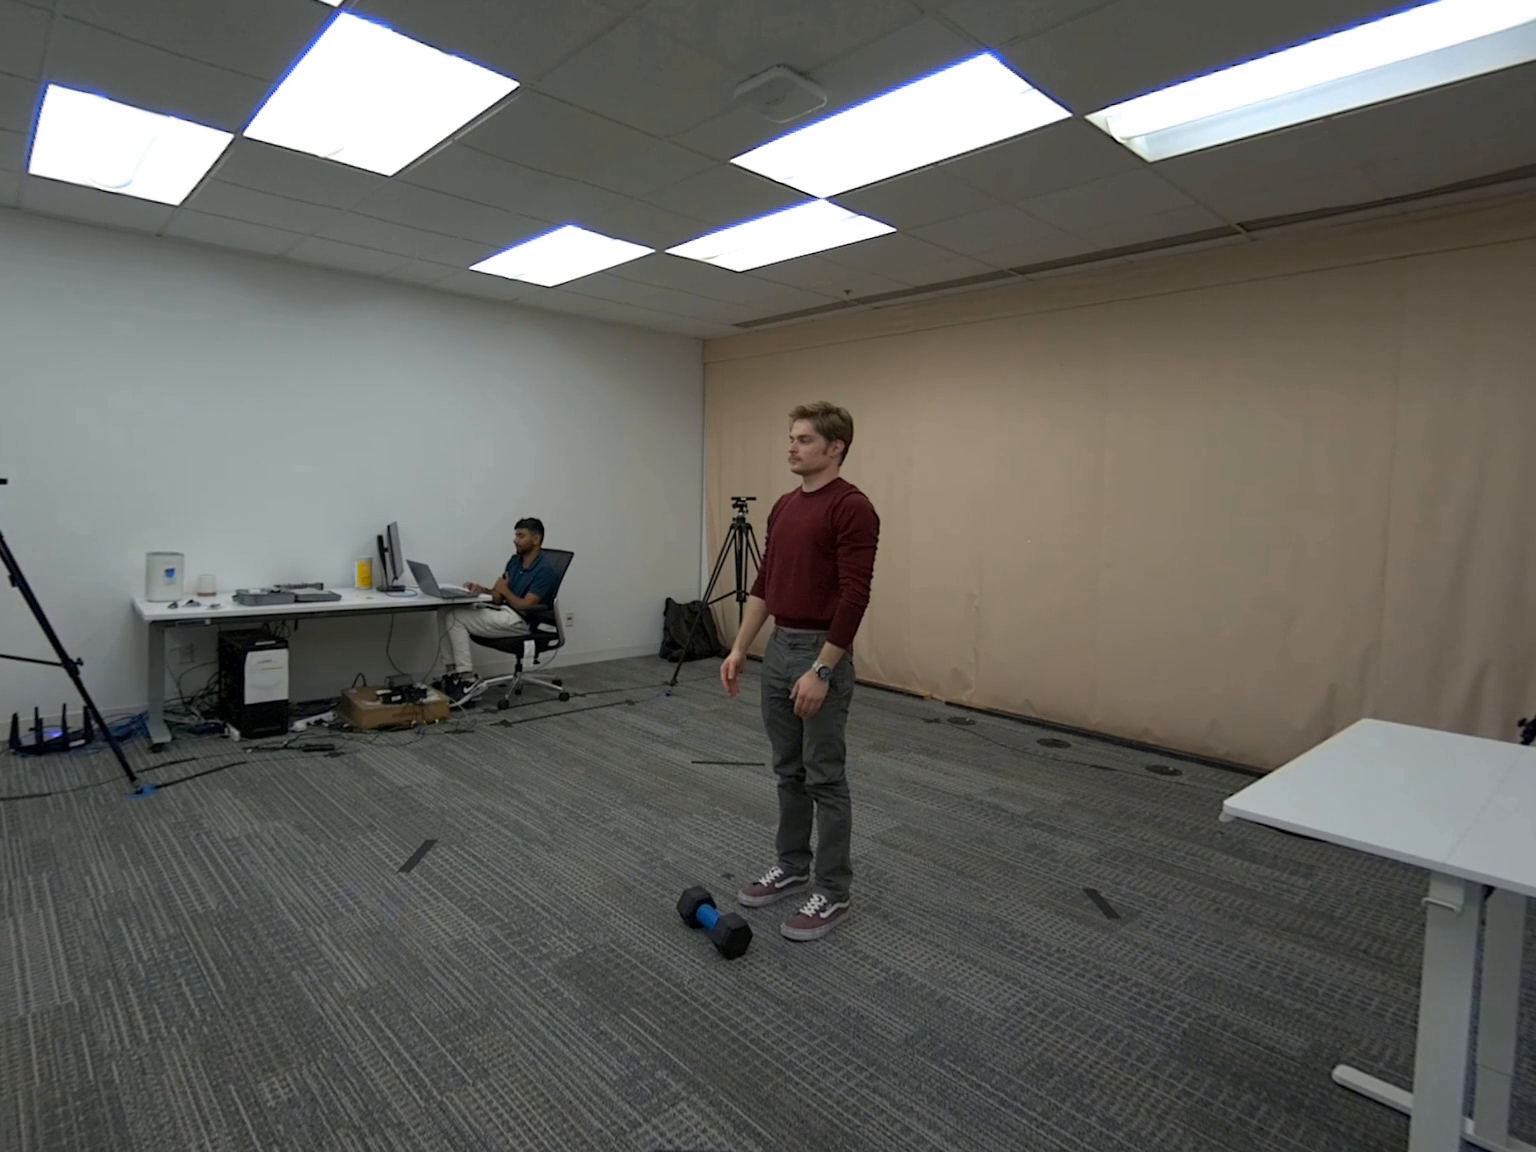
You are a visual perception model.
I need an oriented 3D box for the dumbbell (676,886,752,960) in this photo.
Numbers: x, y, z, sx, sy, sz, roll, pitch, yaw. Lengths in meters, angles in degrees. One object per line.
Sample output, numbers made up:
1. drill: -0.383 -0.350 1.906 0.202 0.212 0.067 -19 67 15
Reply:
1. dumbbell: -0.178 1.093 2.659 0.106 0.123 0.301 30 -12 -32
